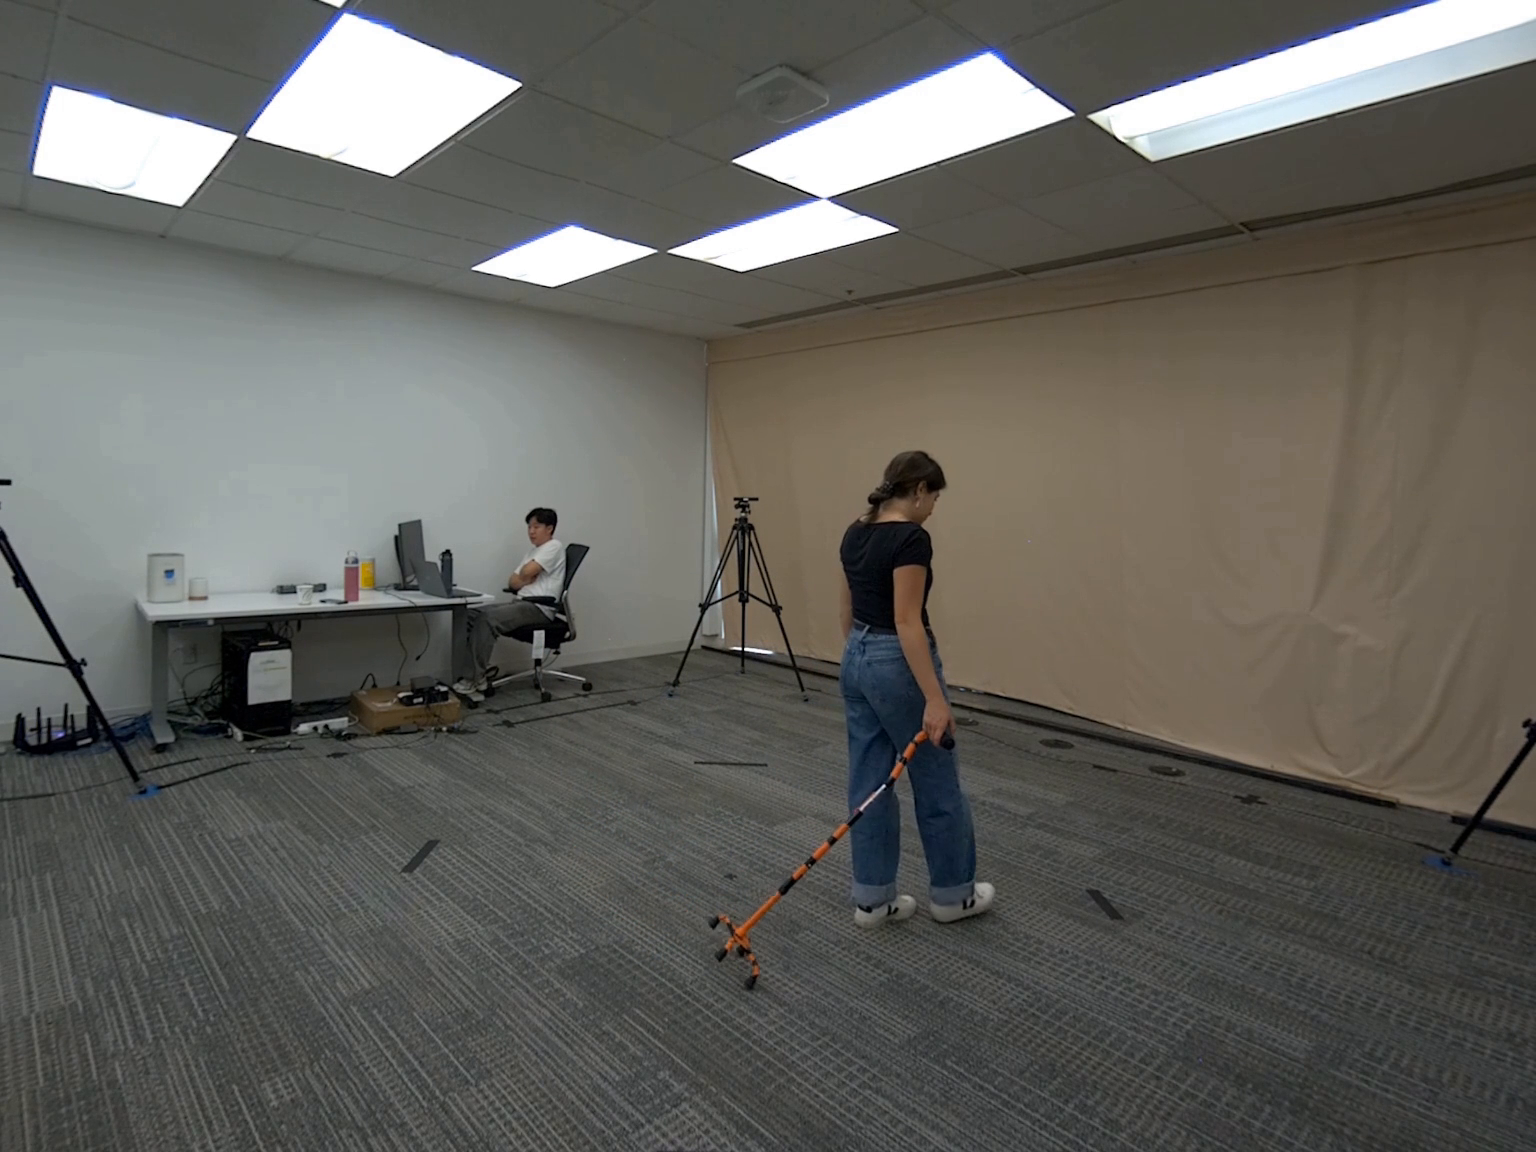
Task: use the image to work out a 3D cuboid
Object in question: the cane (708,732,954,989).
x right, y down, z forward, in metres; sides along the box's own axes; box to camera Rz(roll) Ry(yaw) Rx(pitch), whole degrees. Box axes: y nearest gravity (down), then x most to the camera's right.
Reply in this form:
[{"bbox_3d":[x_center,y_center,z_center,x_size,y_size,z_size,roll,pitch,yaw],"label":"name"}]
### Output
[{"bbox_3d":[0.194,0.801,2.473,0.150,0.908,0.208,46,-1,-8],"label":"cane"}]
